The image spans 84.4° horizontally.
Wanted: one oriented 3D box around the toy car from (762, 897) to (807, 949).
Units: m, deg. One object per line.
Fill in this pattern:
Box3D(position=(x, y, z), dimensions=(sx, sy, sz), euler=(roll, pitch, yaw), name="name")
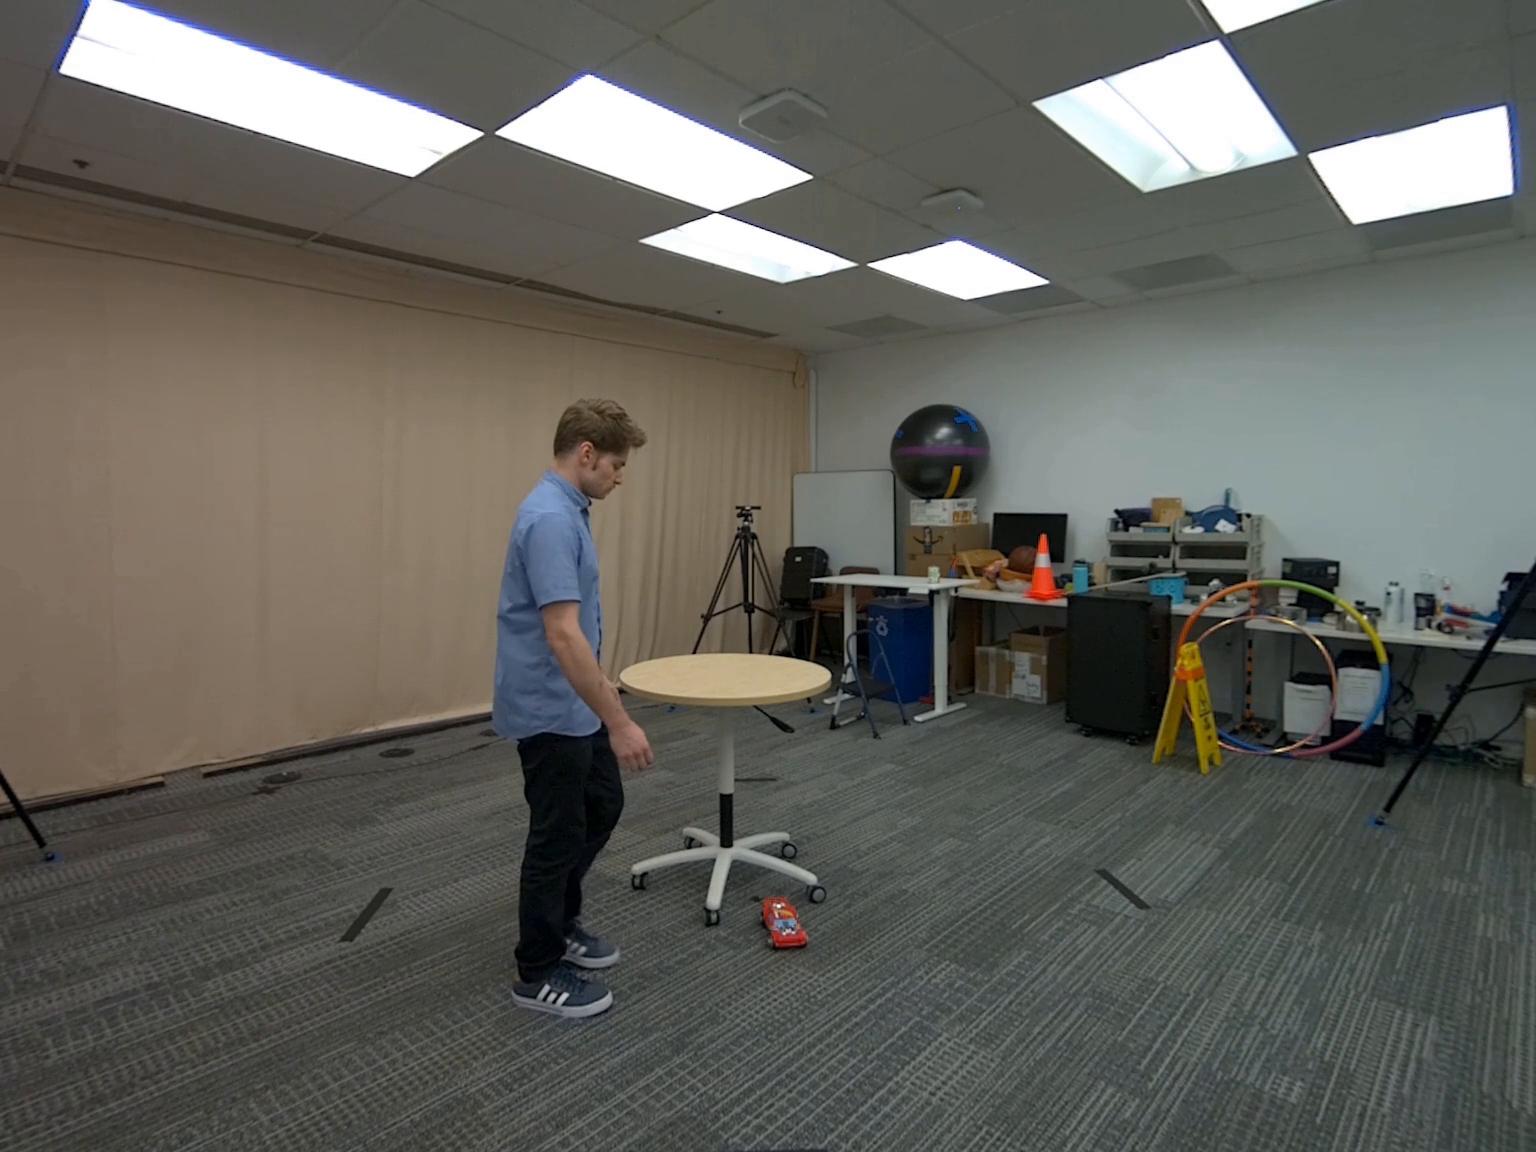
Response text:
Box3D(position=(0.051, 1.134, 2.738), dimensions=(0.129, 0.082, 0.259), euler=(0, 15, -9), name="toy car")
